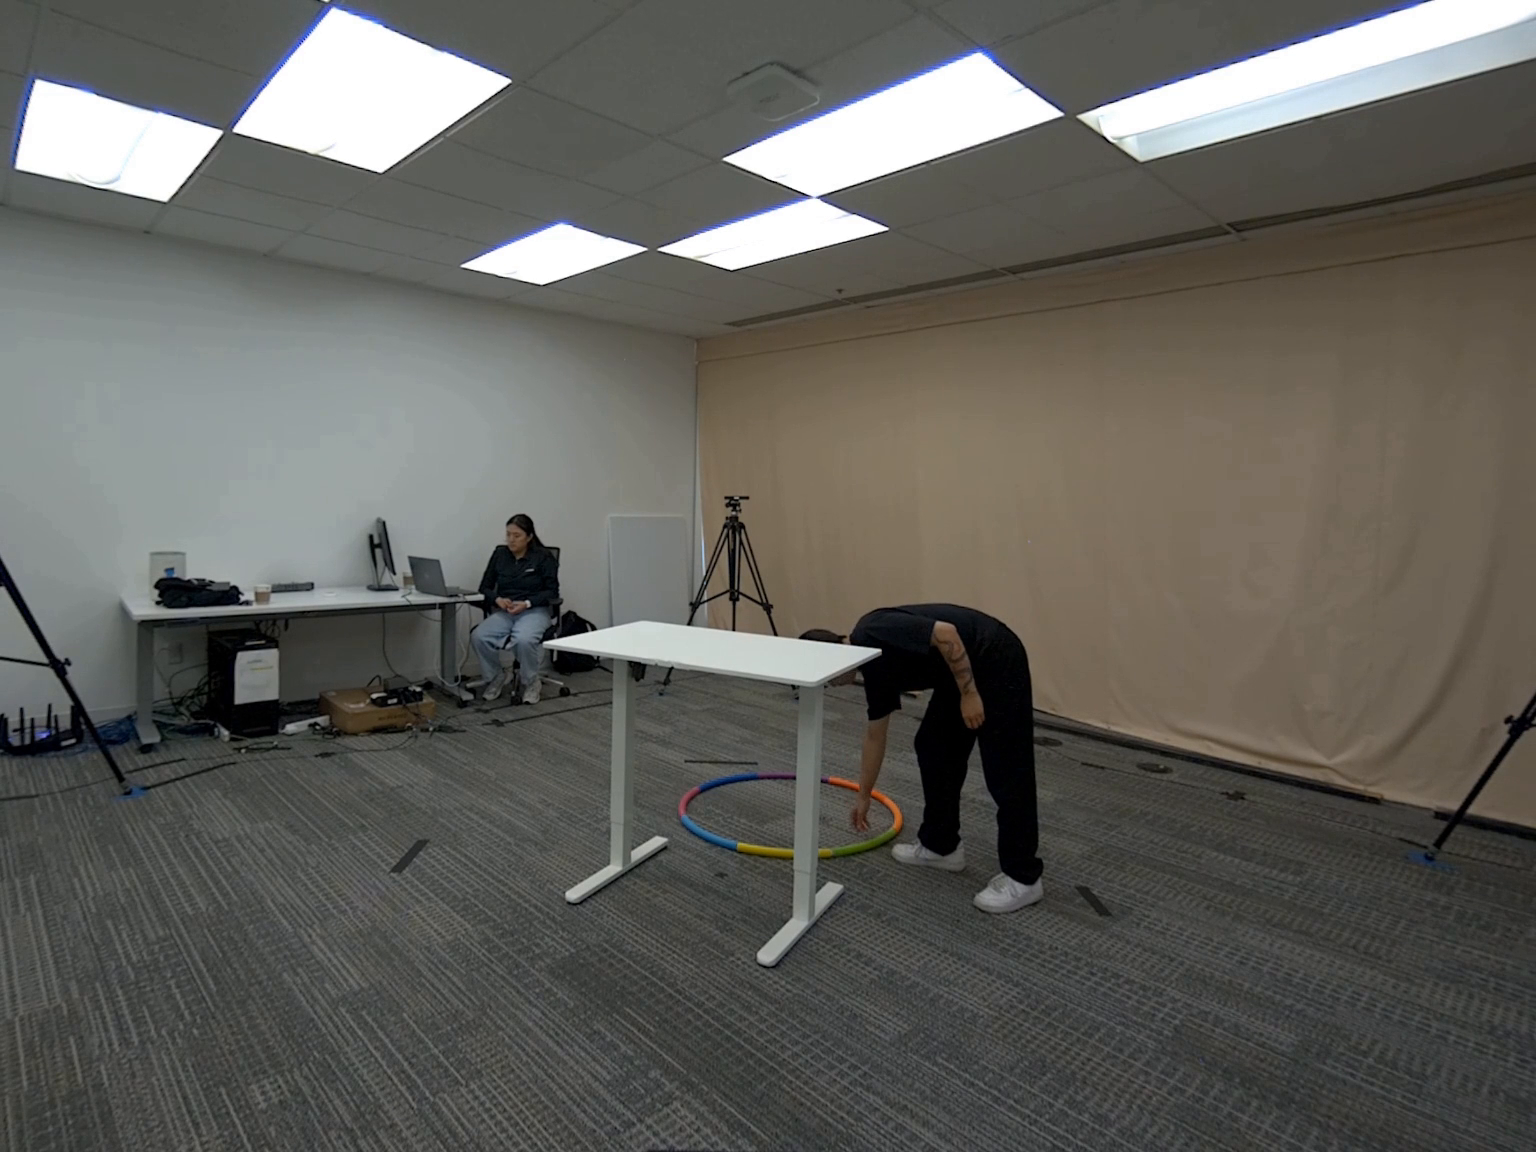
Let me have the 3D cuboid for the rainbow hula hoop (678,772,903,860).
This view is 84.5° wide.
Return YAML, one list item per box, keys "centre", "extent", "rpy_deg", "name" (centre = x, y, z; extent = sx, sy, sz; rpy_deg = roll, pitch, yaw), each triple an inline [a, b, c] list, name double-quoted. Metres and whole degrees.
- centre: [0.083, 1.028, 3.734]
  extent: [0.978, 0.035, 0.982]
  rpy_deg: [1, 5, -1]
  name: "rainbow hula hoop"
